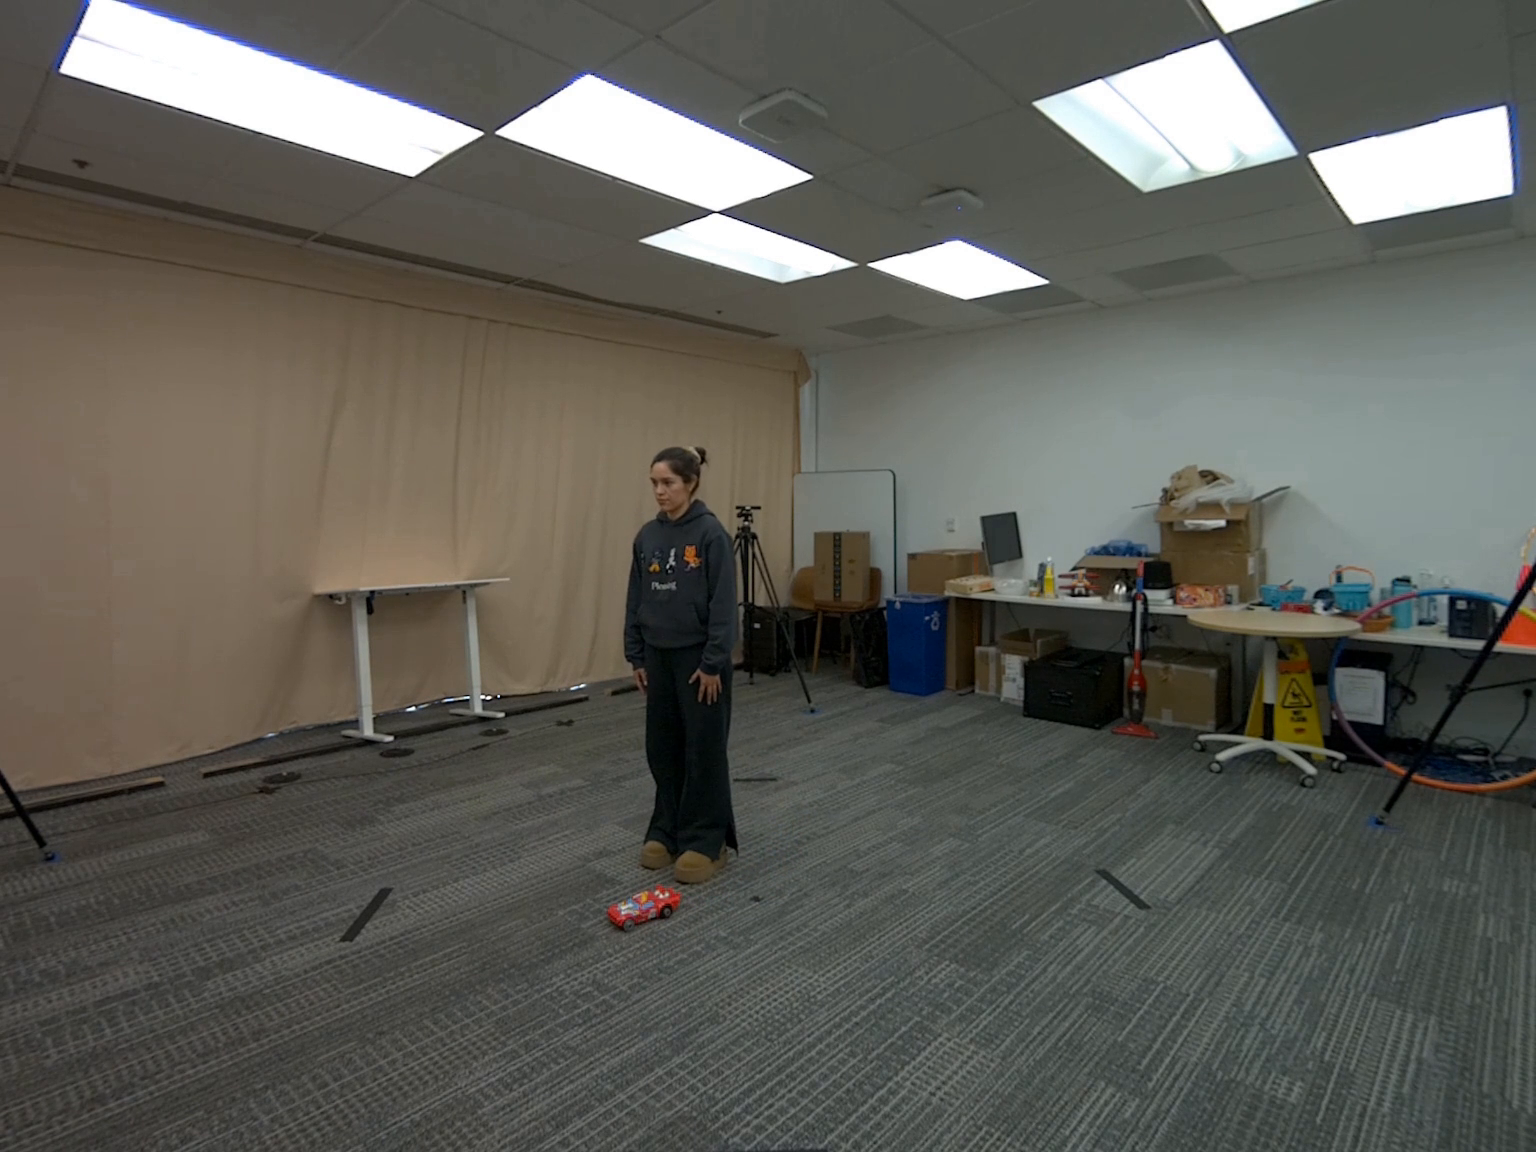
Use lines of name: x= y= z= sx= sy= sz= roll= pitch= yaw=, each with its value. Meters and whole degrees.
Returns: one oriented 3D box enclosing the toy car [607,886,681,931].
toy car: x=-0.404 y=1.122 z=2.860 sx=0.249 sy=0.082 sz=0.134 roll=-18 pitch=13 yaw=-33
